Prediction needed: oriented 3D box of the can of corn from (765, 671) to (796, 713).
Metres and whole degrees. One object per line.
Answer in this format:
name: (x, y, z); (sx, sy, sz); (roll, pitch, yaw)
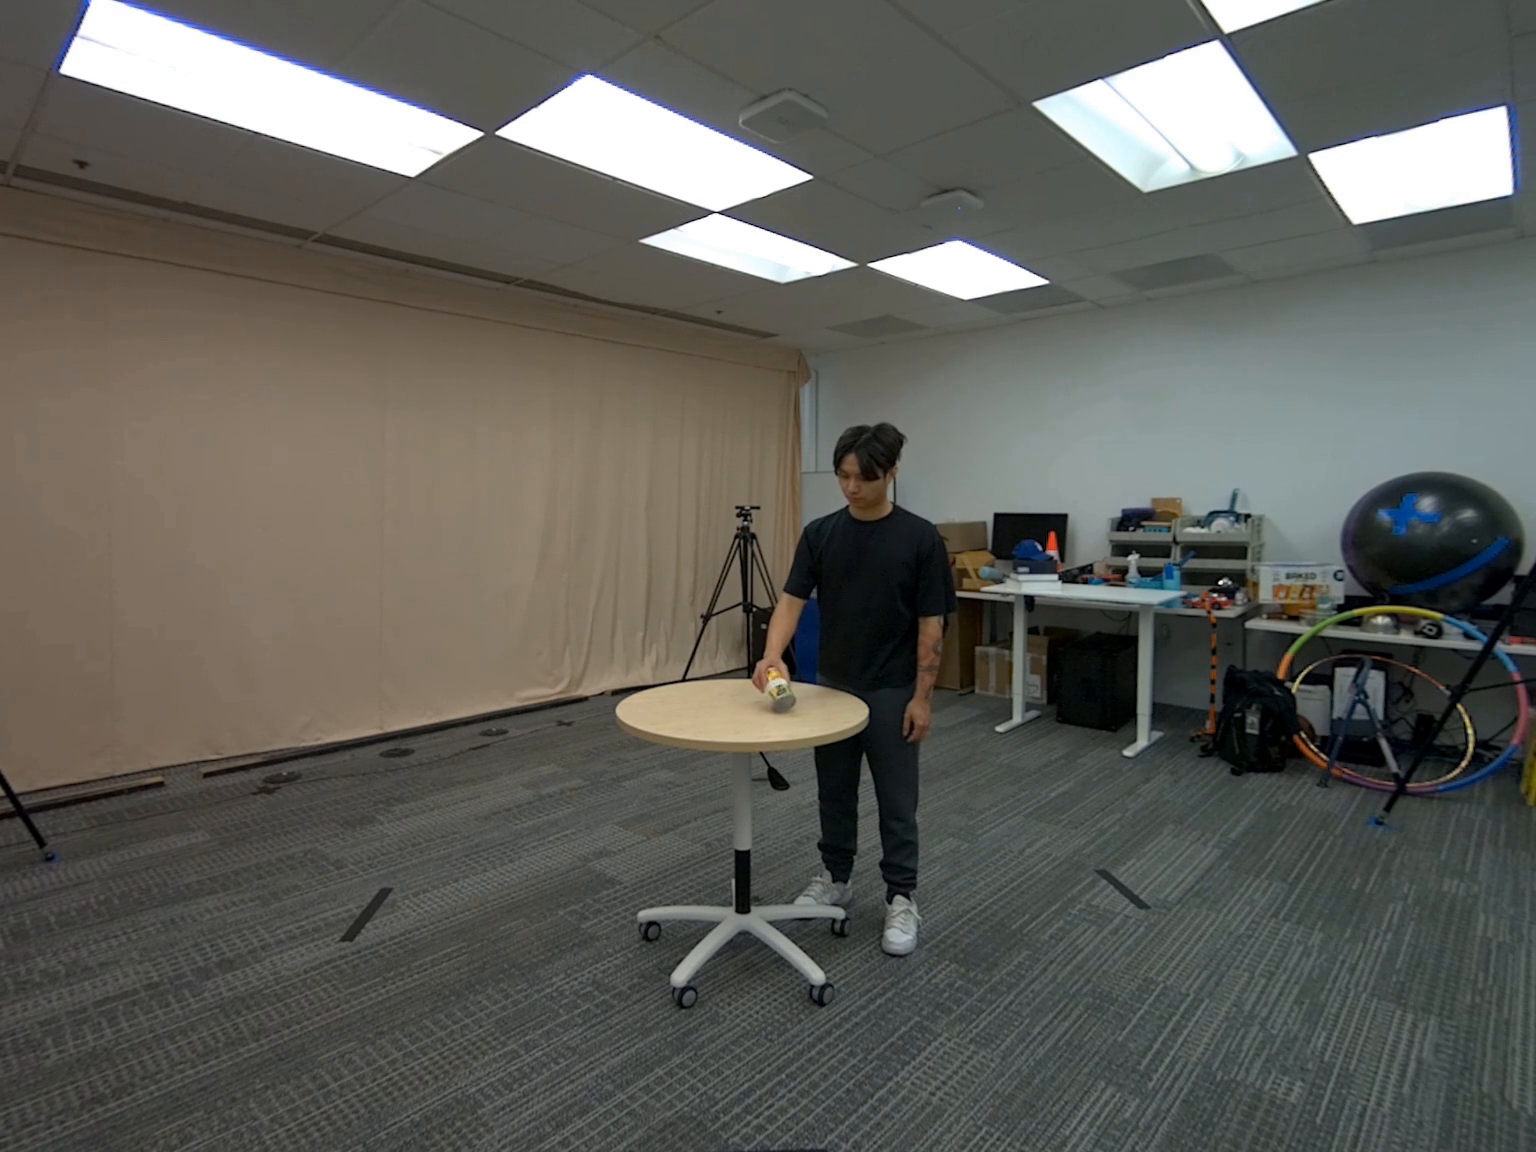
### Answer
can of corn: (0.024, 0.345, 2.509); (0.073, 0.073, 0.114); (-1, 43, -15)
